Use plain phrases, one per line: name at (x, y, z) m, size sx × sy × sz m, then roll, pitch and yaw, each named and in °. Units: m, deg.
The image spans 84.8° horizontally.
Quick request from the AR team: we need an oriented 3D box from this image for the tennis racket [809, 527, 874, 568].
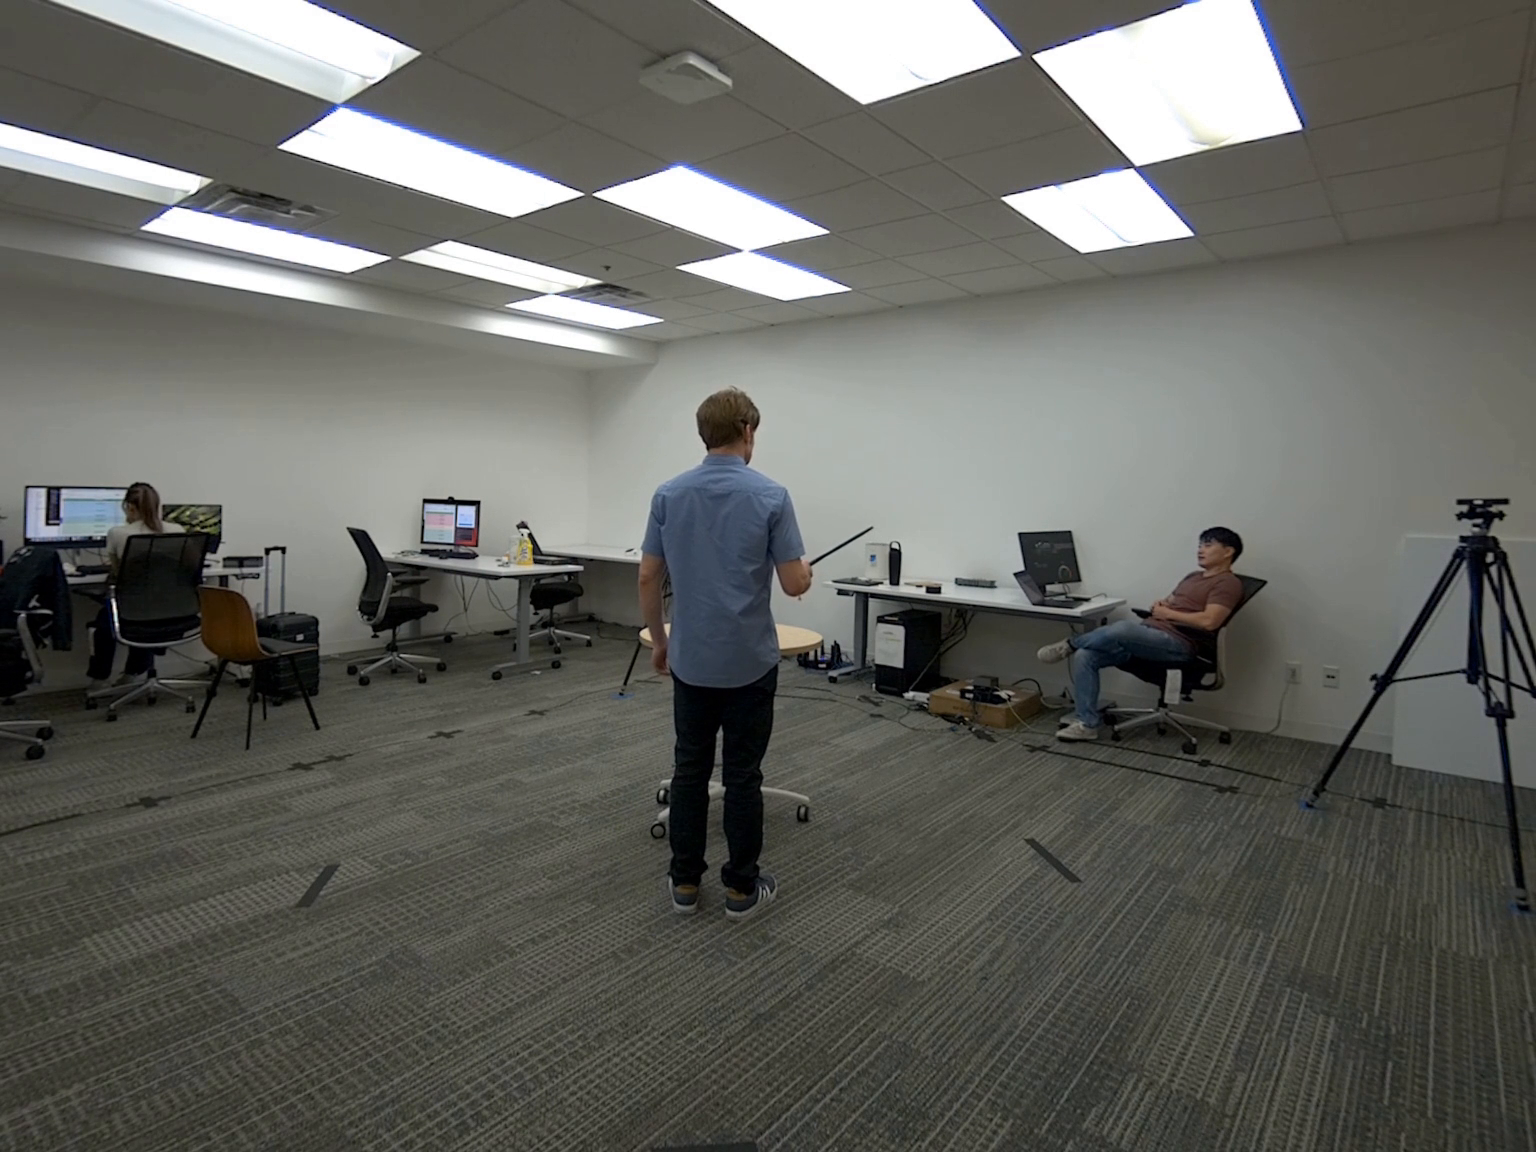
tennis racket at (0.212, -0.082, 3.125) m, size 0.427 × 0.032 × 0.213 m, roll -29°, pitch -8°, yaw -30°
